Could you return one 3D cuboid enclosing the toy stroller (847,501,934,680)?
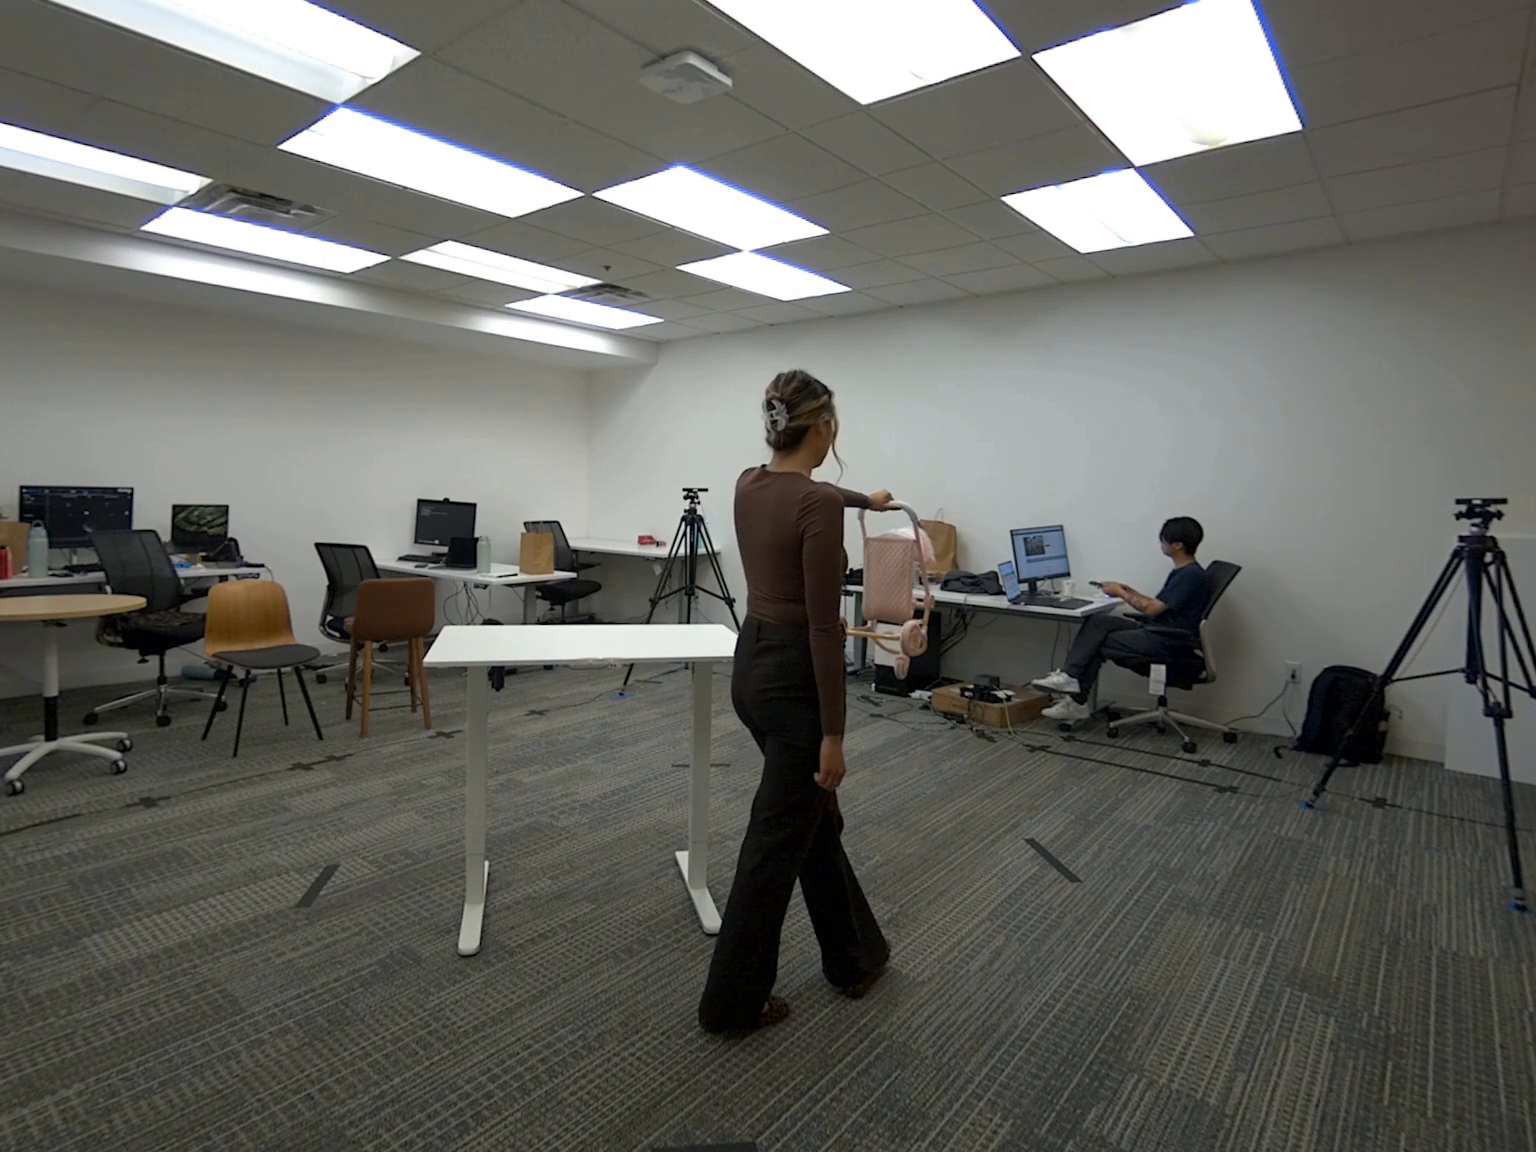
[{"bbox_3d":[0.412,0.055,2.805,0.290,0.540,0.328,0,-14,38],"label":"toy stroller"}]
